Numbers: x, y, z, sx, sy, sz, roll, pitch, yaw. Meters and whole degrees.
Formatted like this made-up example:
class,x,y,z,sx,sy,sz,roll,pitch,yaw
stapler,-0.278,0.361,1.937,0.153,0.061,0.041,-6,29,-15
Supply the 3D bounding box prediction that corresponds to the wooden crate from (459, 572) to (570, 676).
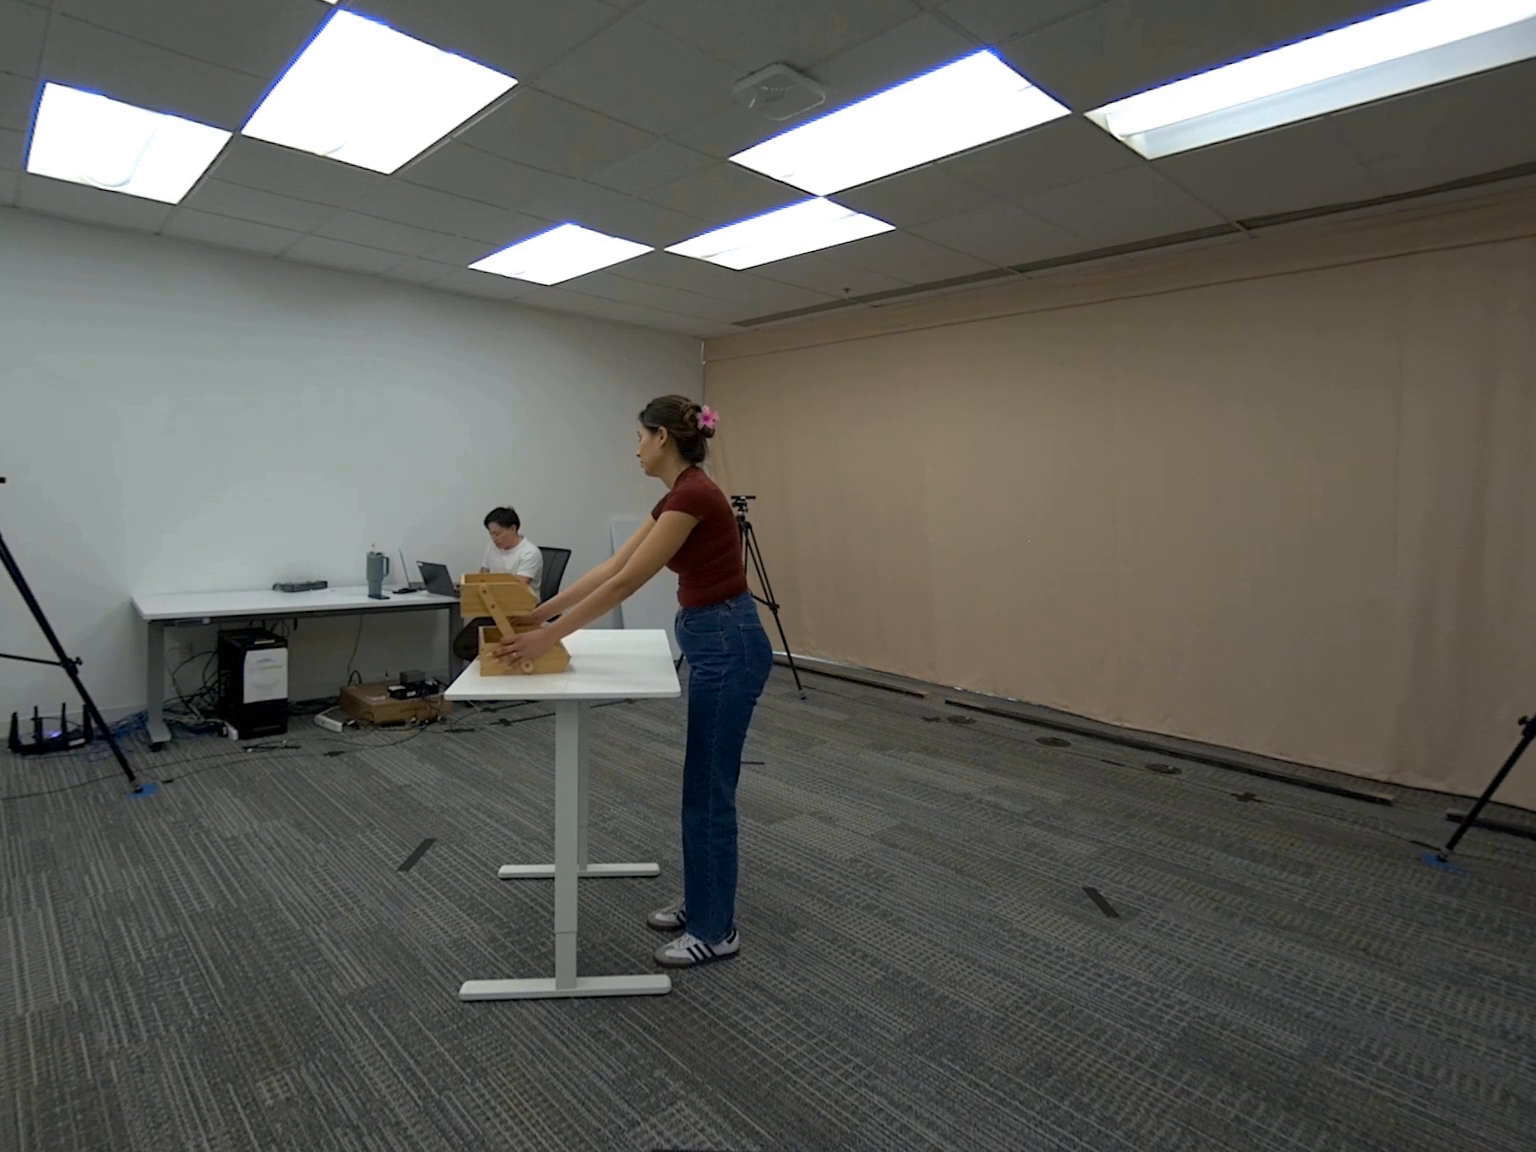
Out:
class,x,y,z,sx,sy,sz,roll,pitch,yaw
wooden crate,-0.752,0.134,2.495,0.298,0.272,0.330,-1,5,-19
